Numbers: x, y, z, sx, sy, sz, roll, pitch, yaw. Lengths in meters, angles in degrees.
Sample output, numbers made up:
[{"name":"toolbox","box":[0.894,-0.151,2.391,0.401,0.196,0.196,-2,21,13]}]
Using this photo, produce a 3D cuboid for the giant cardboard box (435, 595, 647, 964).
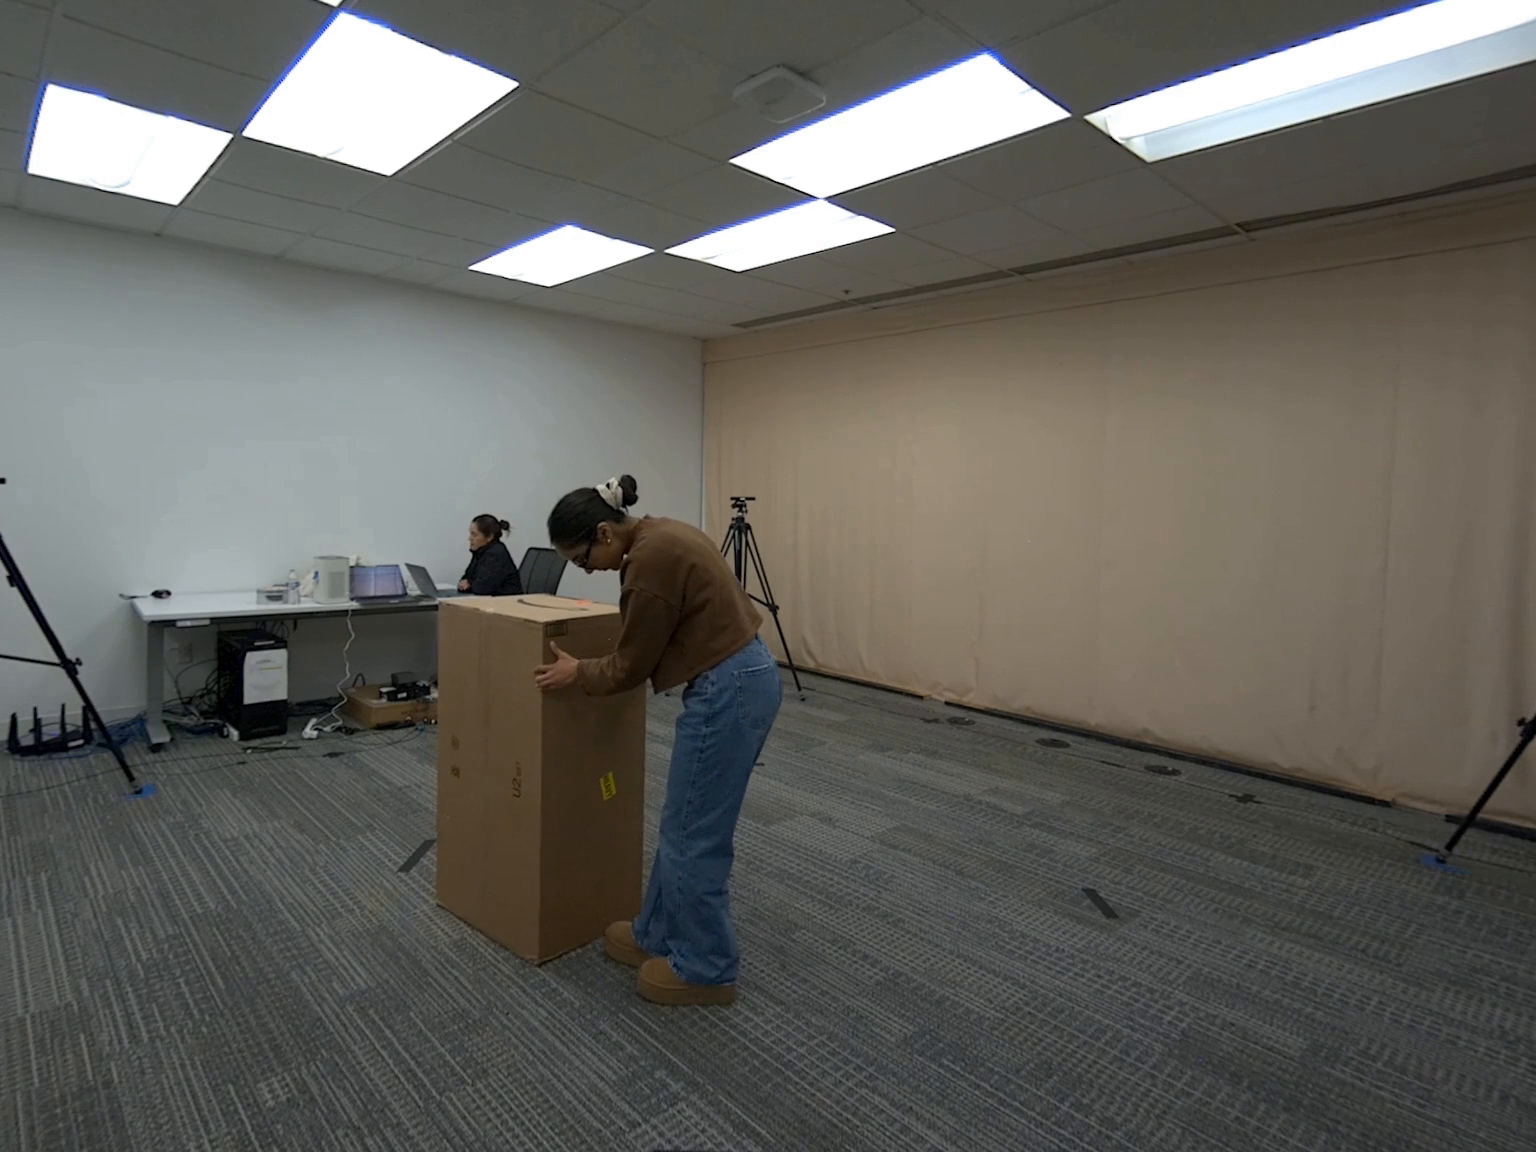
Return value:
[{"name":"giant cardboard box","box":[-0.765,0.611,2.800,0.592,1.024,0.416,4,4,40]}]
